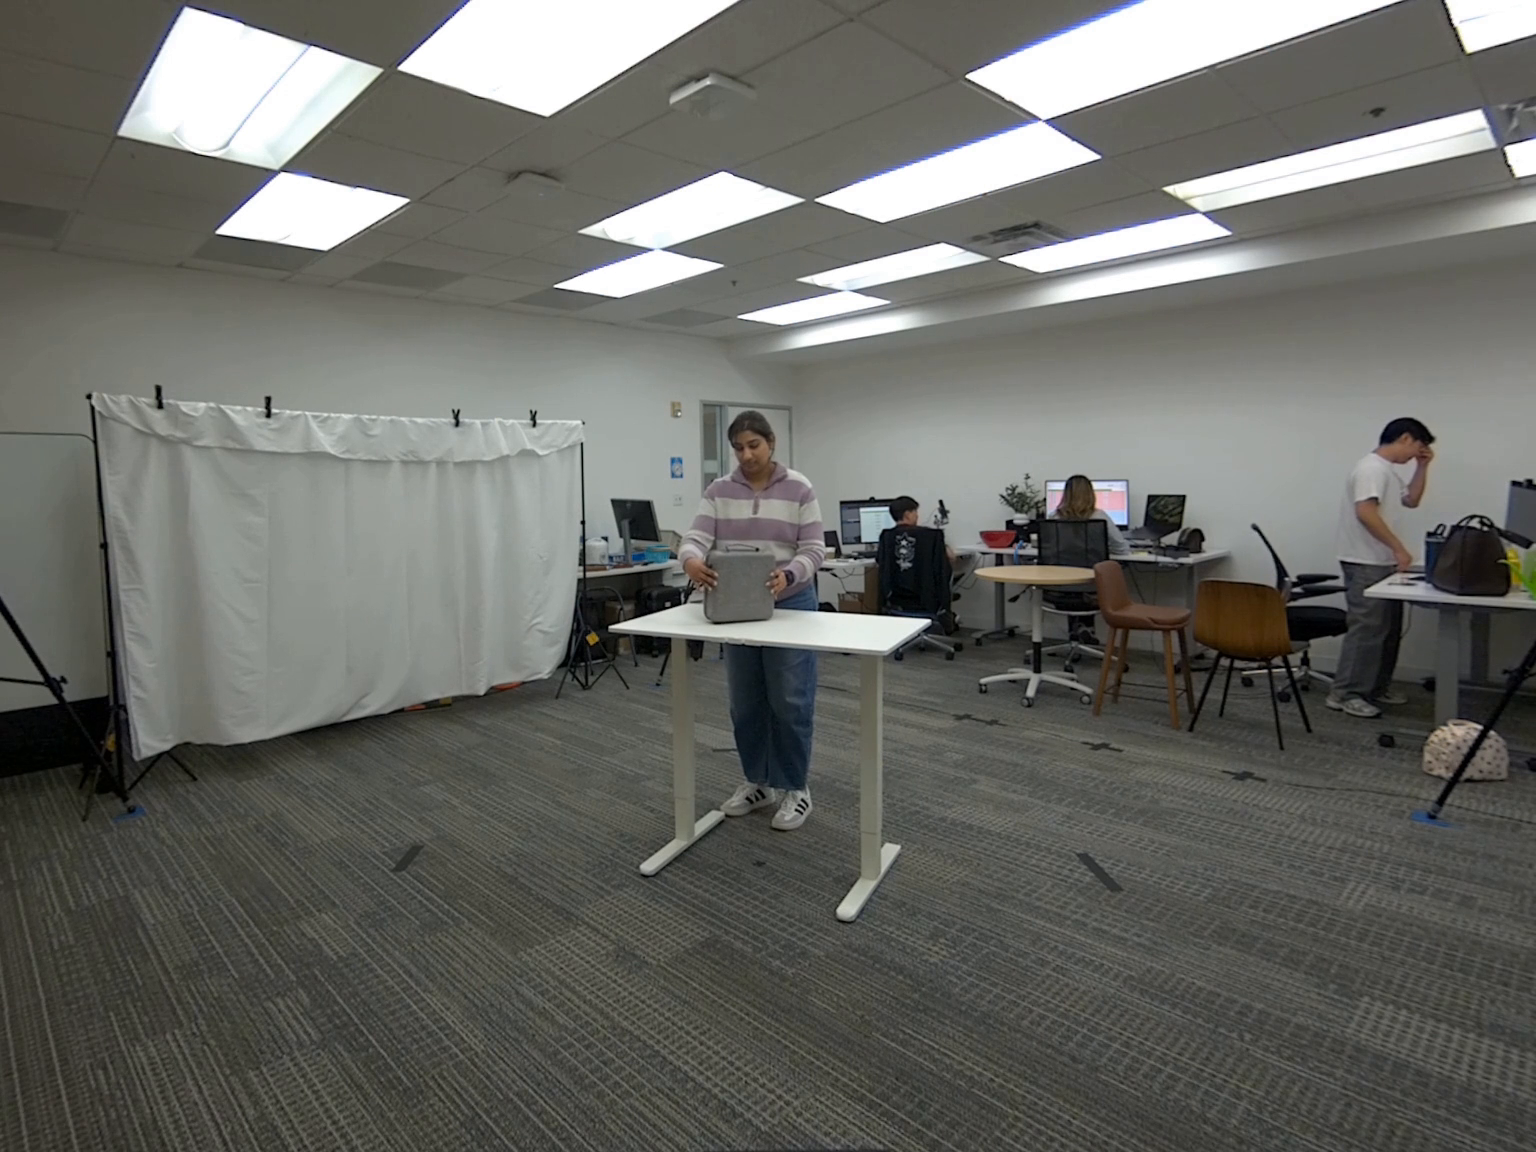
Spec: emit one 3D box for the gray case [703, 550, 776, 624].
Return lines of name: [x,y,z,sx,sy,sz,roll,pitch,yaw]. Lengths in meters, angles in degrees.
gray case: [-0.096,0.033,3.096,0.252,0.259,0.107,-1,6,-22]
